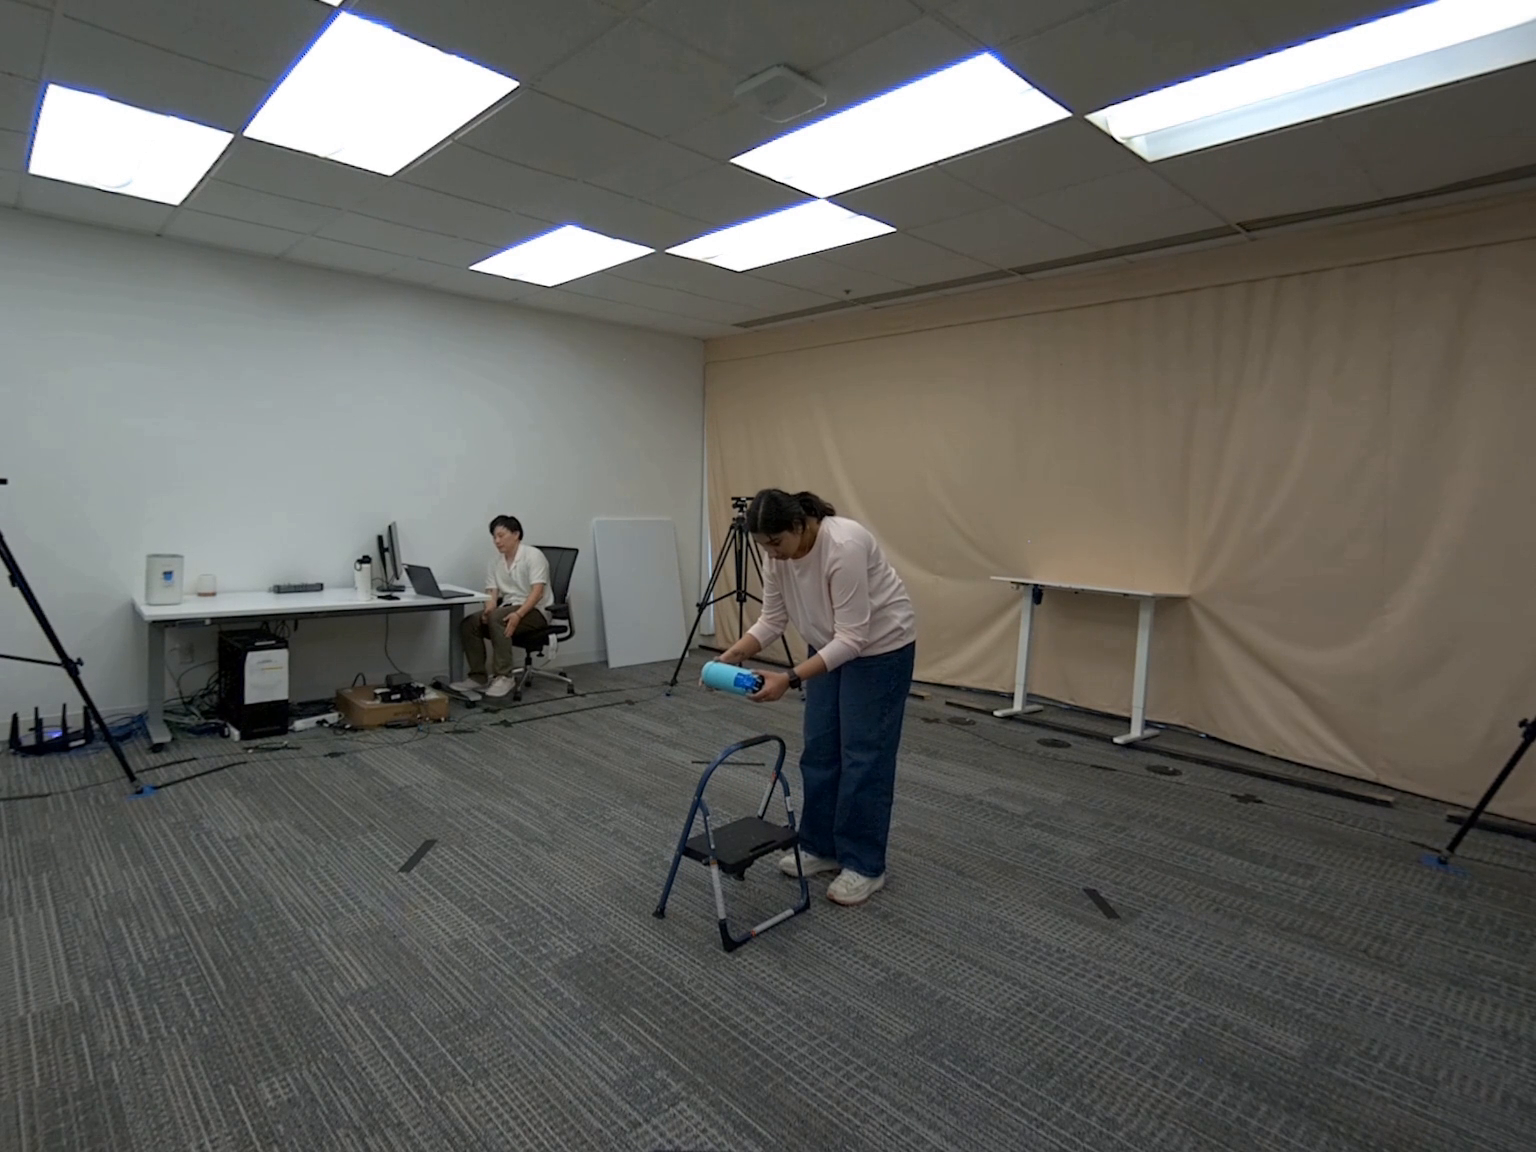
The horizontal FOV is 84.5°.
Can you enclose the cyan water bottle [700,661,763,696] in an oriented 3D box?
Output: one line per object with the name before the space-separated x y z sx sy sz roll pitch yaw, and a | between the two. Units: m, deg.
cyan water bottle | -0.115 0.356 2.852 0.090 0.092 0.290 -2 6 -41
